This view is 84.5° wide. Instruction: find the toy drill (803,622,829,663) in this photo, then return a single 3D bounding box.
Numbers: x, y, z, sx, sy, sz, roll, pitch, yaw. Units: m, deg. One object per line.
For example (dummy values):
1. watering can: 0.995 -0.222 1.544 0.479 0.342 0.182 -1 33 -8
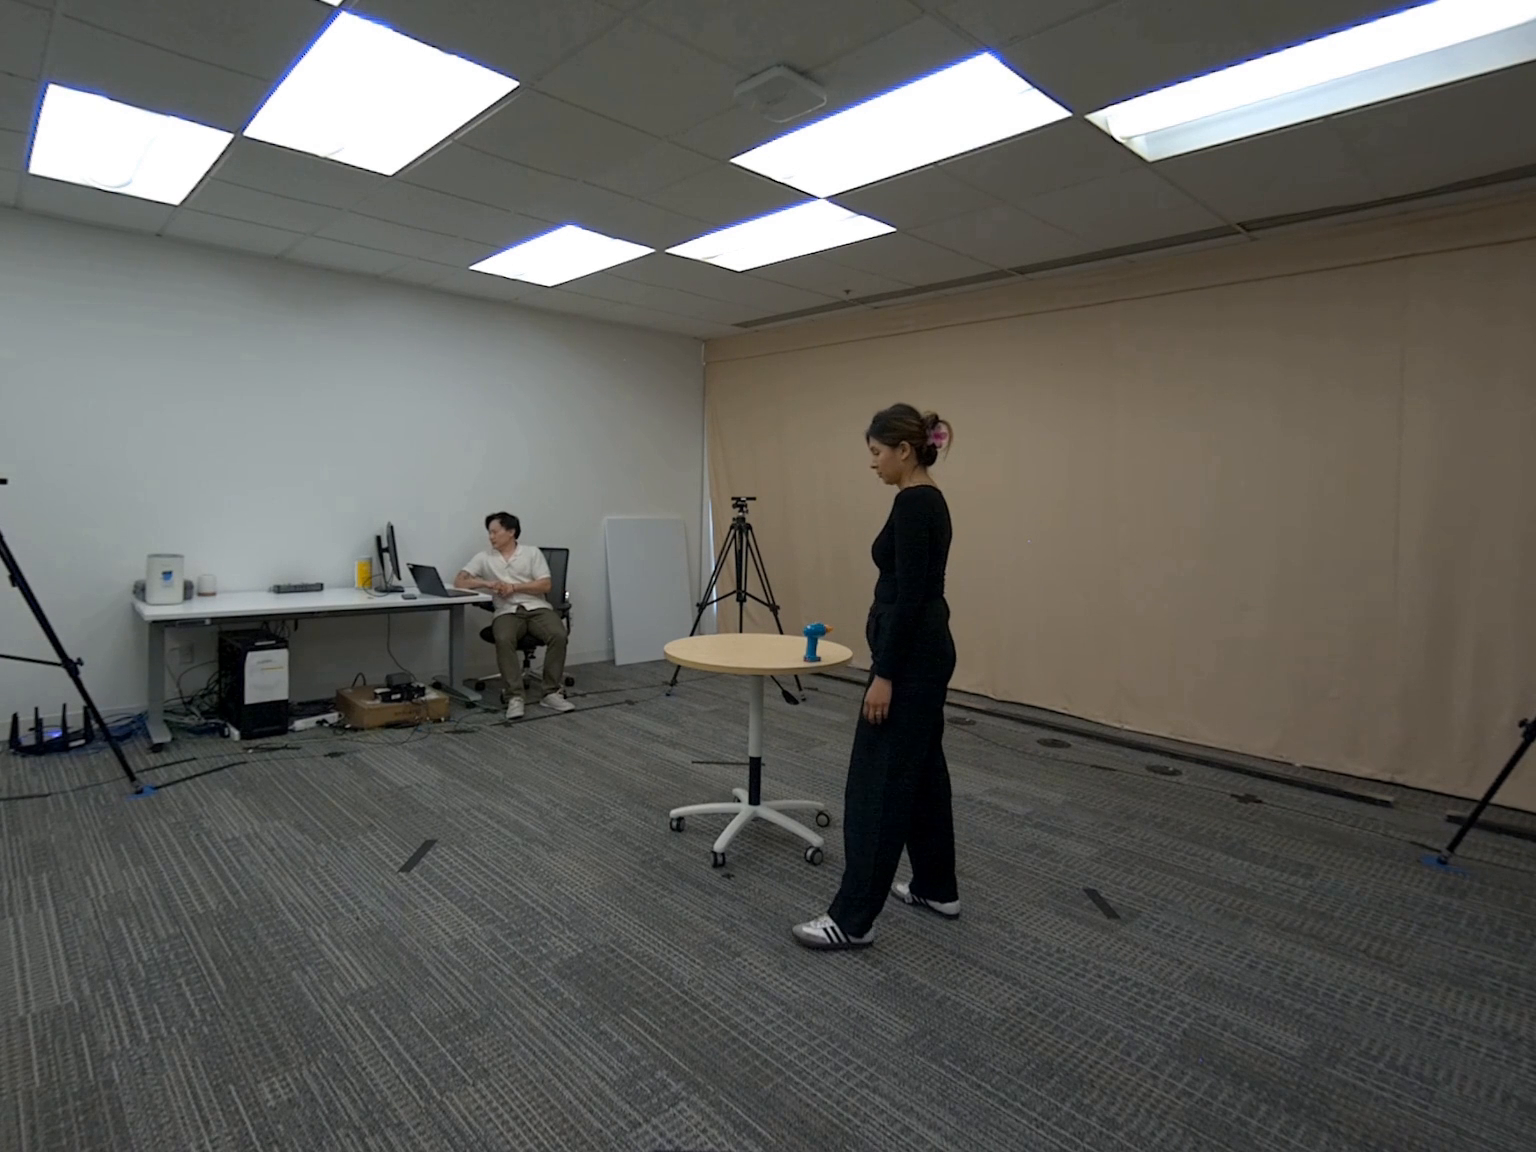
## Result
1. toy drill: 0.186 0.247 3.223 0.063 0.145 0.166 3 5 40
